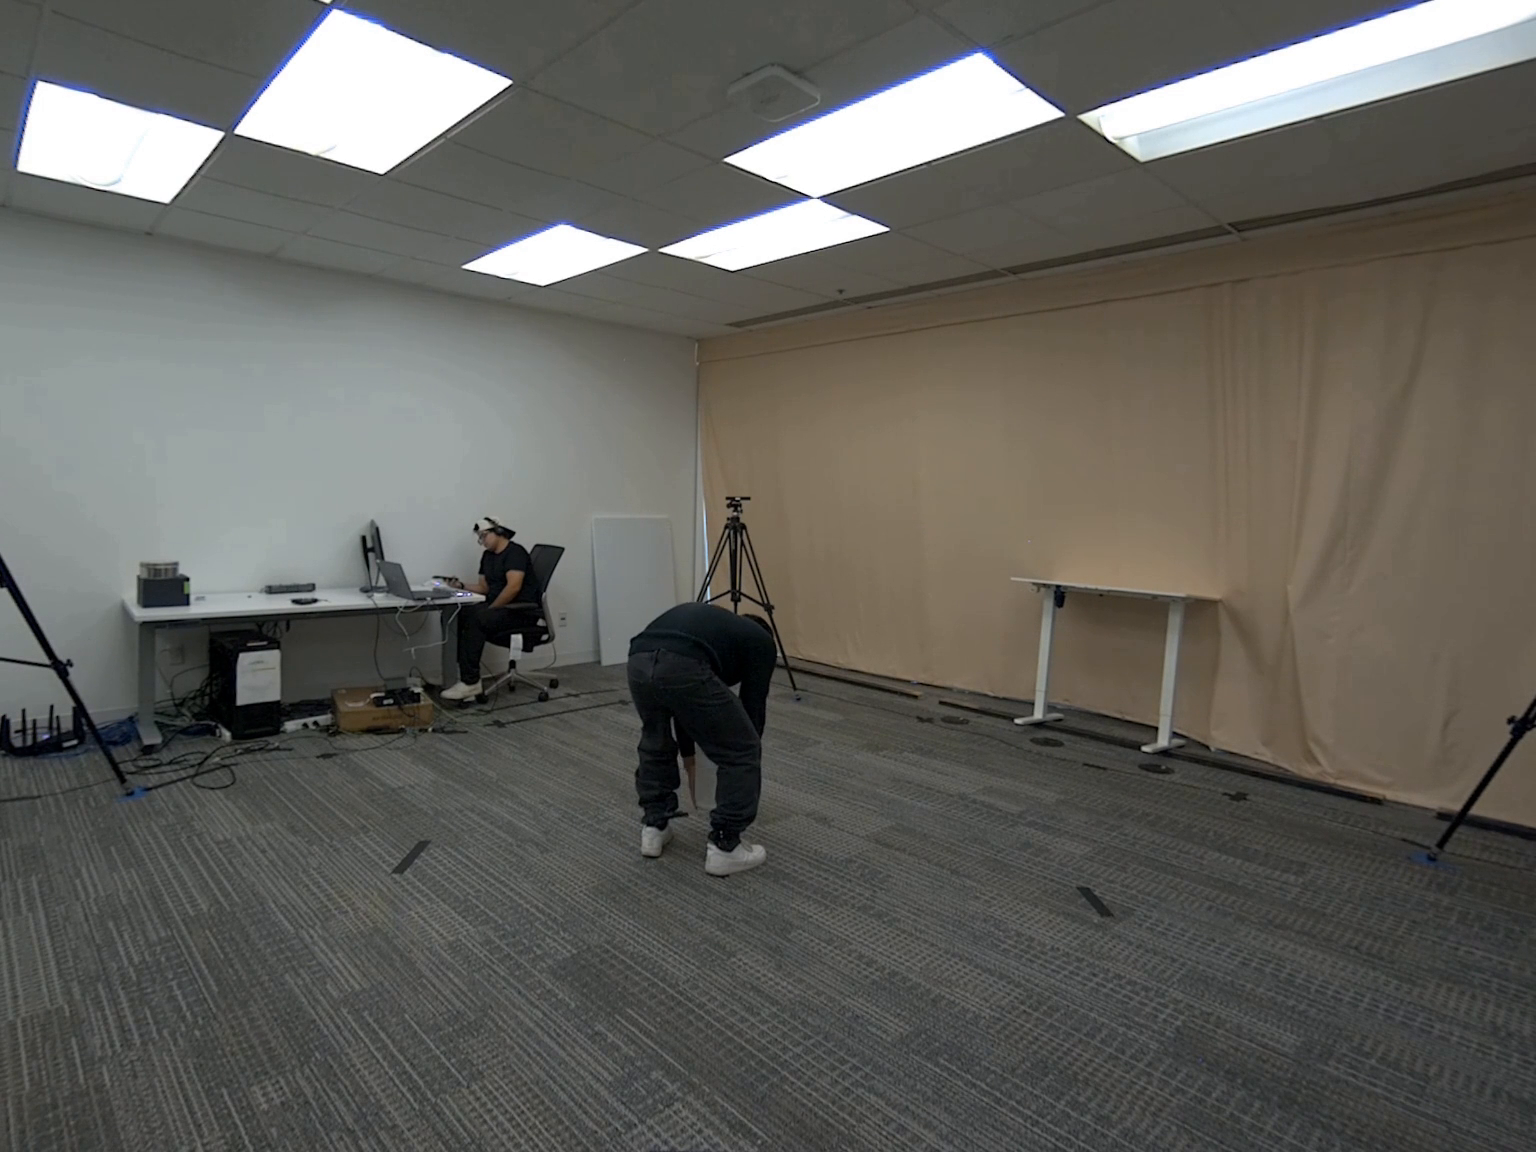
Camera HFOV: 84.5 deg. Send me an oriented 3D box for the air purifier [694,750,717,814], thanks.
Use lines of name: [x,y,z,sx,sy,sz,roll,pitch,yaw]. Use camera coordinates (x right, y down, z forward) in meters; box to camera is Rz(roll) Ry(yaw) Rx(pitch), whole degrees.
air purifier: [-0.218,0.815,3.420,0.176,0.265,0.167,4,2,36]
